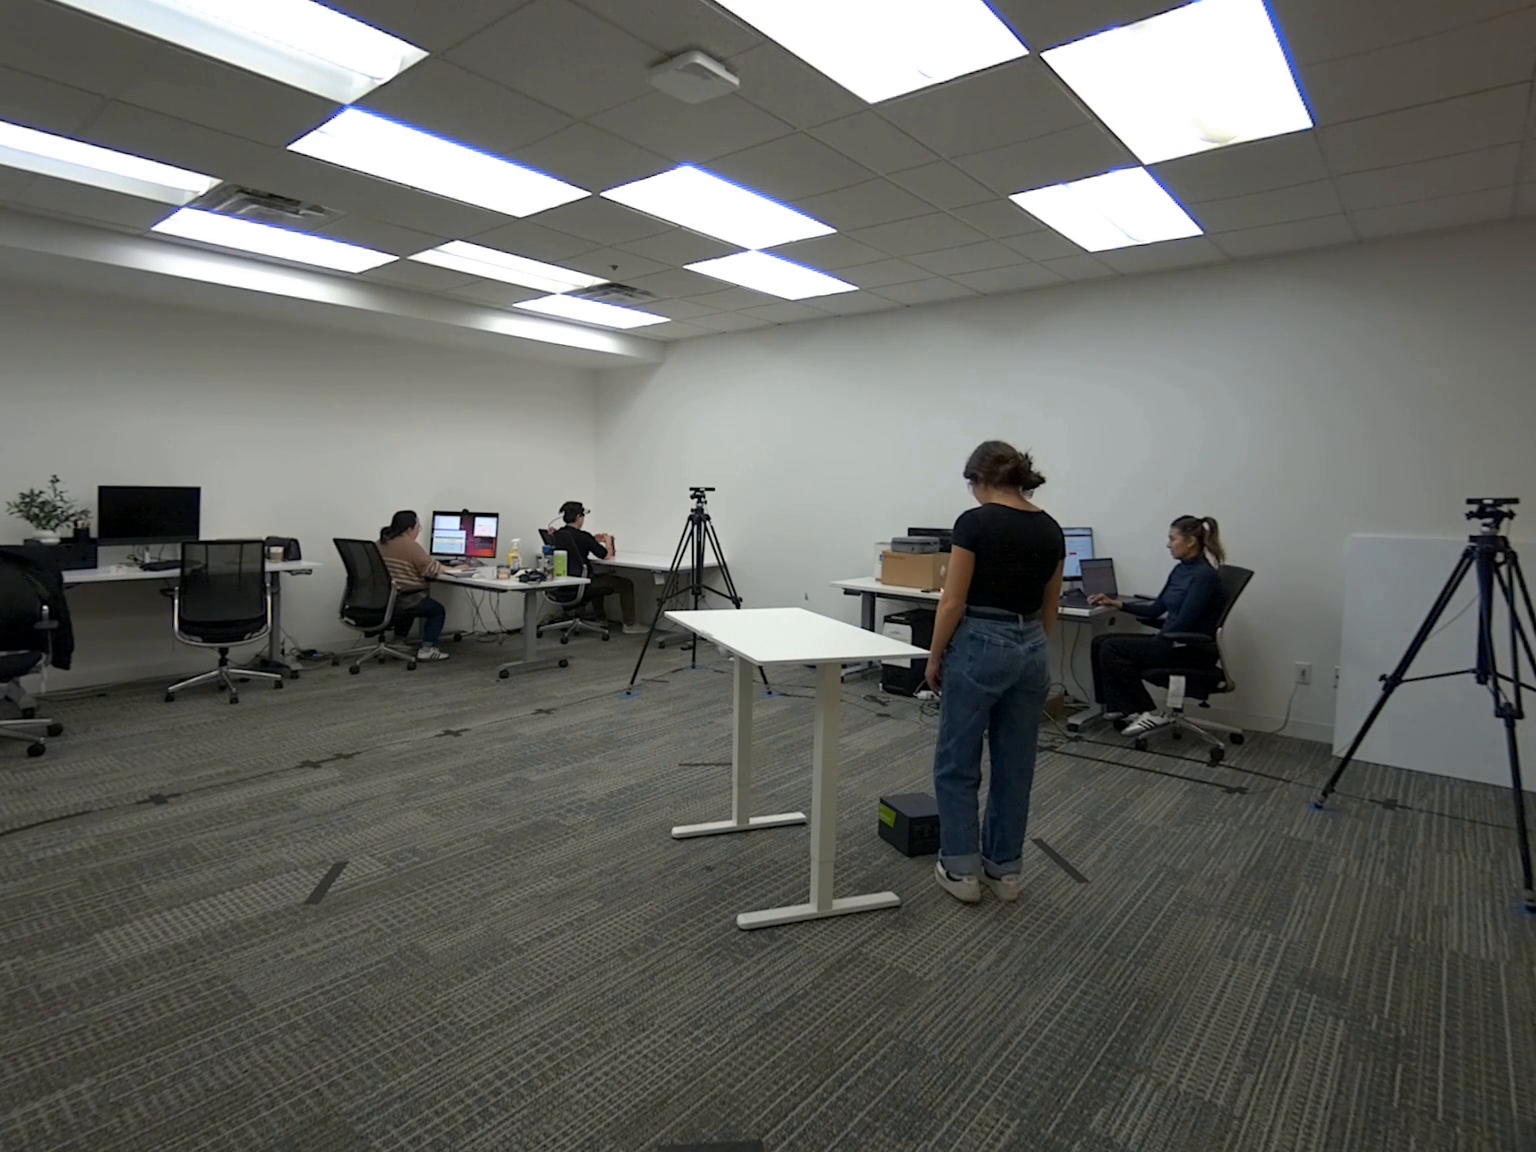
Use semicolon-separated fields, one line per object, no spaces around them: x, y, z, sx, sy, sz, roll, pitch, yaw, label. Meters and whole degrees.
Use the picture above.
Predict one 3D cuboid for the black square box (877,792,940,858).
0.583;0.974;3.377;0.212;0.155;0.233;-1;5;-22;black square box
